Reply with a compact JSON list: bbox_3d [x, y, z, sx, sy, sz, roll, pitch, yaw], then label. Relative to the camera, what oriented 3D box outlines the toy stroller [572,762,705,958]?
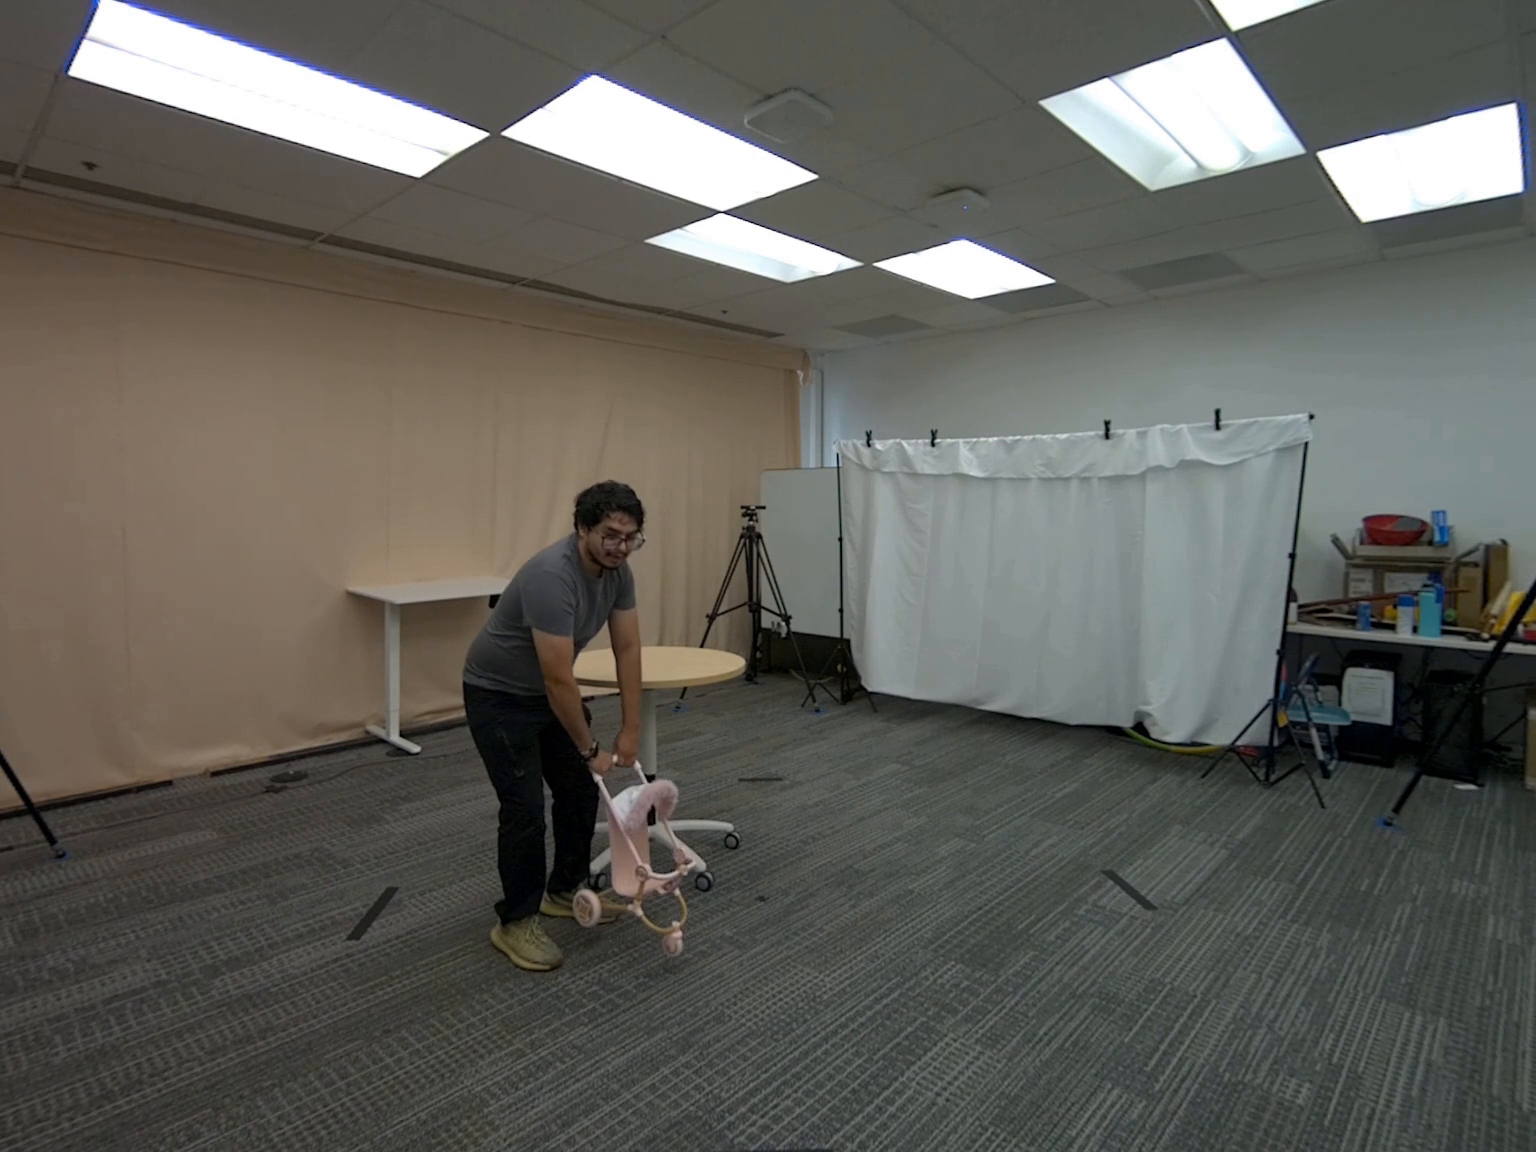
[{"bbox_3d":[-0.376,0.859,2.552,0.352,0.535,0.272,3,-1,37],"label":"toy stroller"}]
